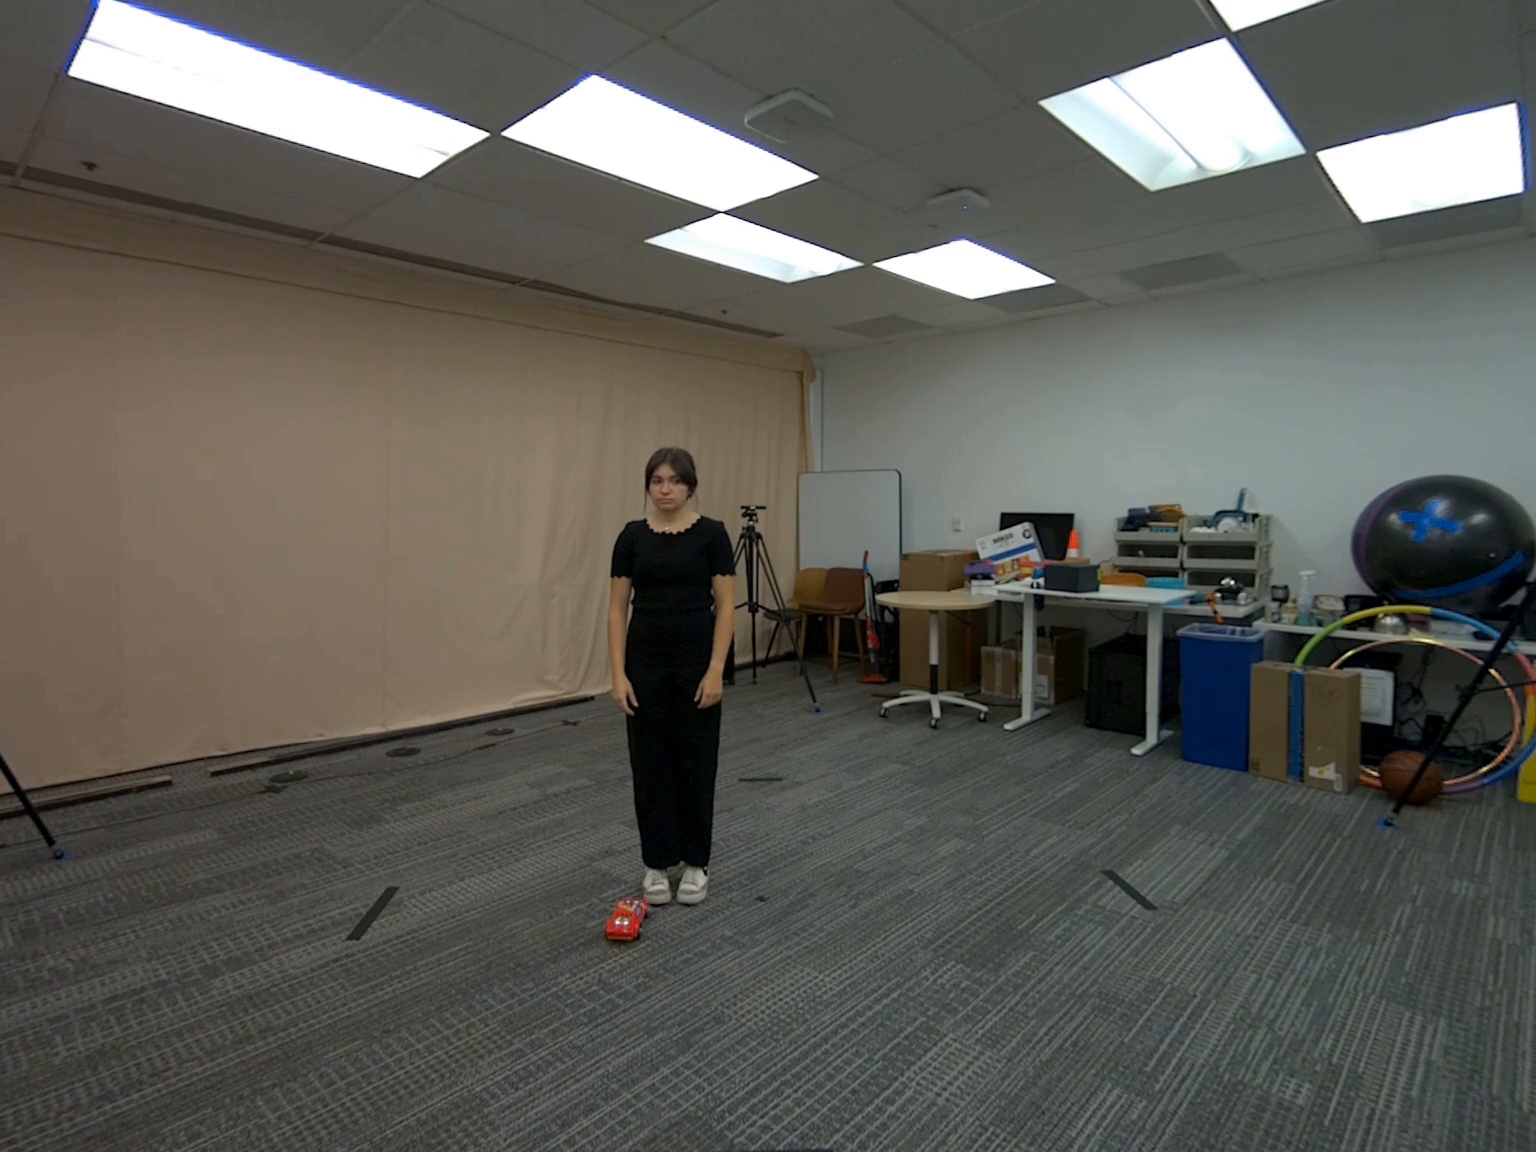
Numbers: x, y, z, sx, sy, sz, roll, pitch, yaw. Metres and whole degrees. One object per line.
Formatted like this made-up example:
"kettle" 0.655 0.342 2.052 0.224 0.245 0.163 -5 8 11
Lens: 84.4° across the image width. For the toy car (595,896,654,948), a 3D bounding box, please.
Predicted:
"toy car" -0.466 1.125 2.767 0.131 0.083 0.251 1 -8 5
